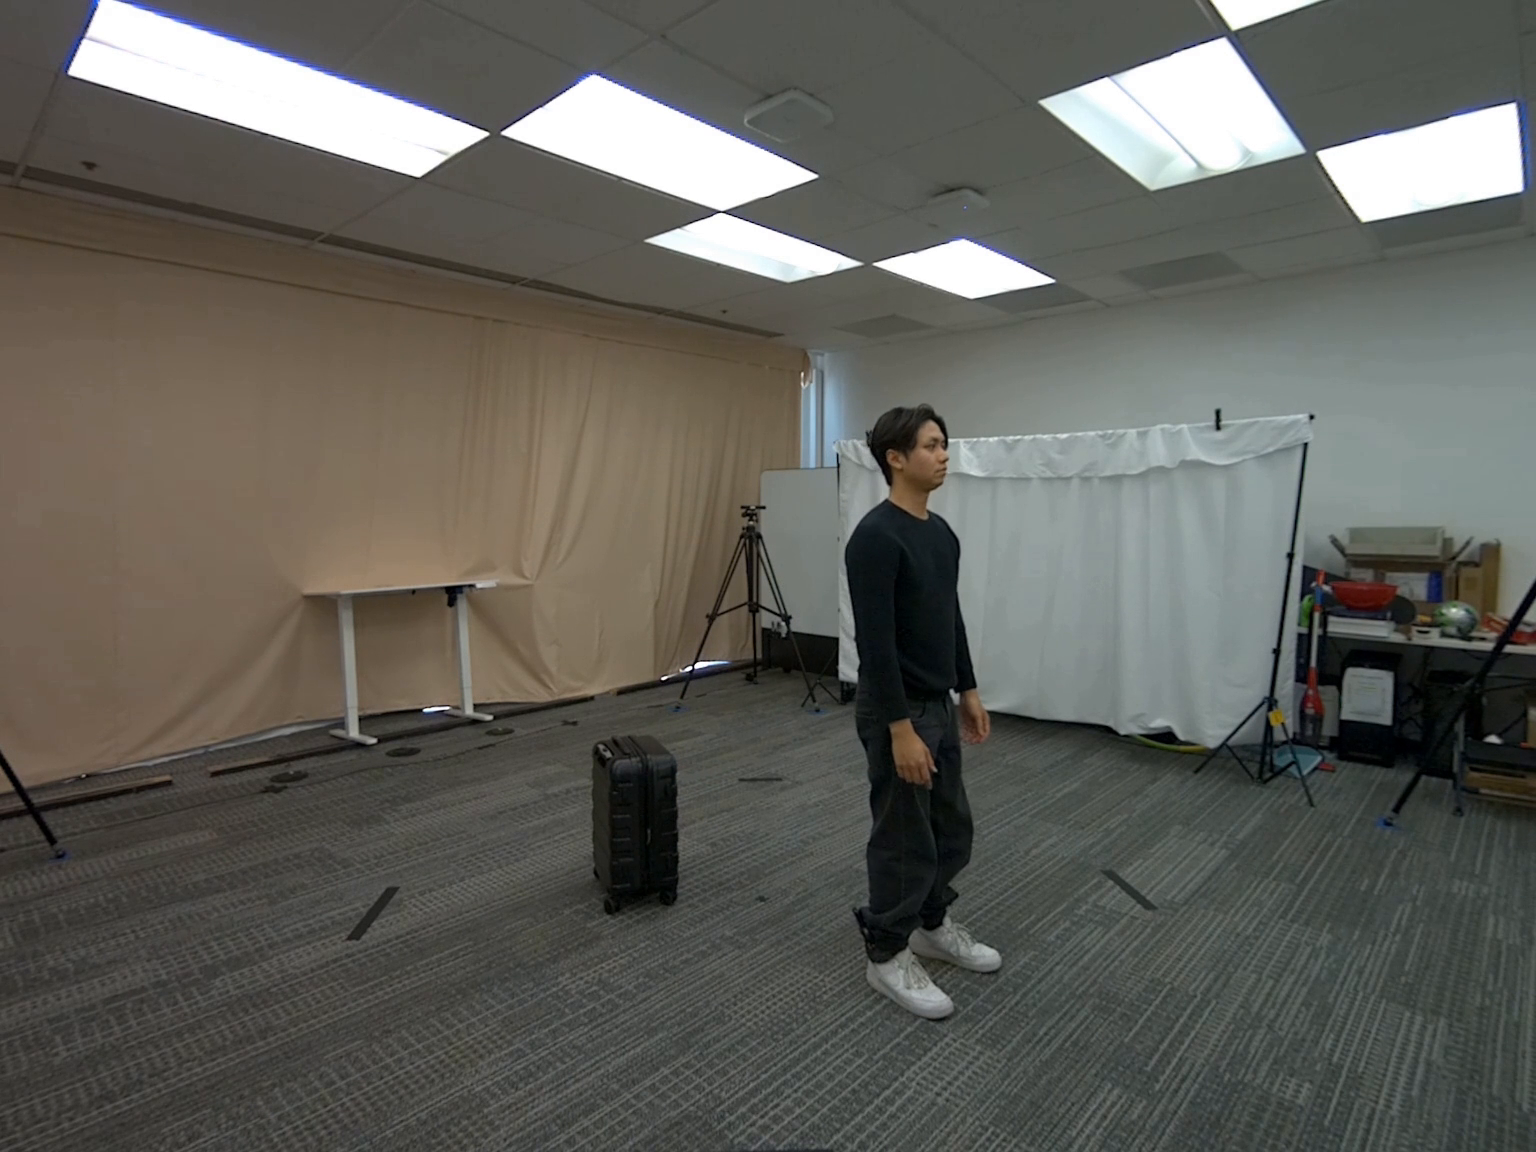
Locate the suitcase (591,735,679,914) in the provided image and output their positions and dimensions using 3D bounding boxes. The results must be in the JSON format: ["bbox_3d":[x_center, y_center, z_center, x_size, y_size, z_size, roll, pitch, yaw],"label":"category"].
[{"bbox_3d":[-0.483,0.866,3.036,0.243,0.548,0.384,-1,4,-22],"label":"suitcase"}]
